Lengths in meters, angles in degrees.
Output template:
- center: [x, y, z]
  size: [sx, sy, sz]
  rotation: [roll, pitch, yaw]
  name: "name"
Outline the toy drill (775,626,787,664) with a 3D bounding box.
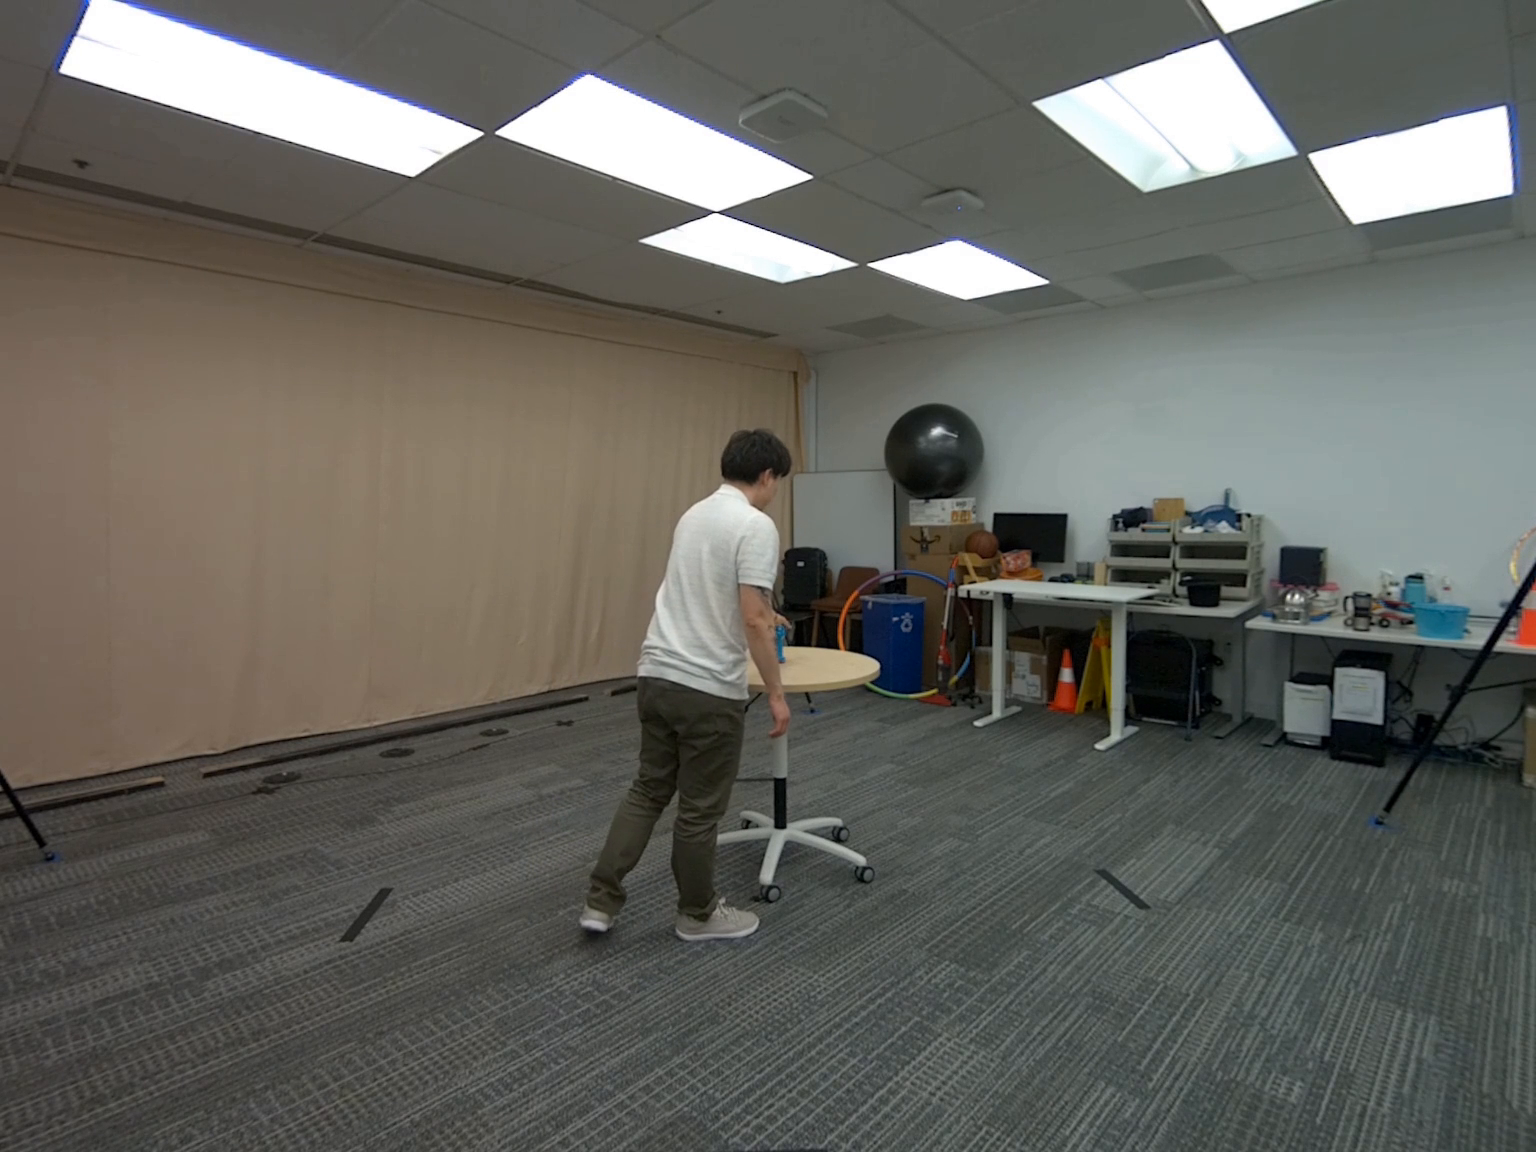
- center: [0.041, 0.261, 3.317]
  size: [0.061, 0.145, 0.171]
  rotation: [2, 6, -5]
  name: "toy drill"
